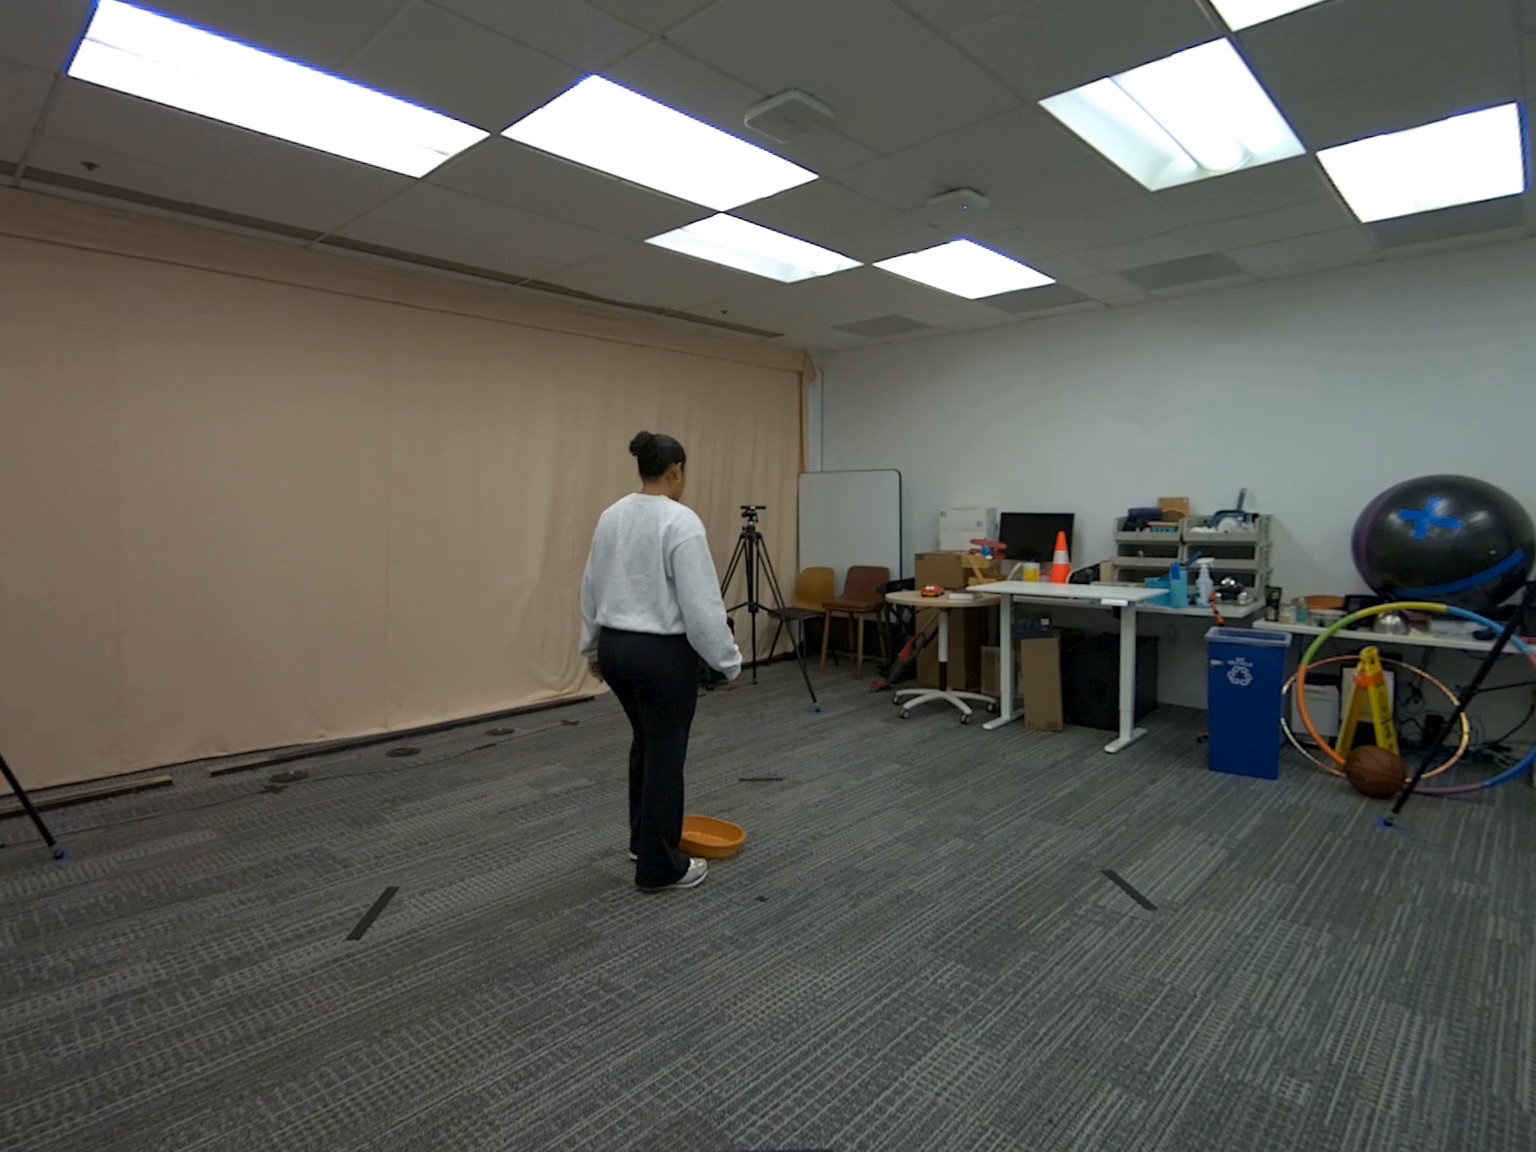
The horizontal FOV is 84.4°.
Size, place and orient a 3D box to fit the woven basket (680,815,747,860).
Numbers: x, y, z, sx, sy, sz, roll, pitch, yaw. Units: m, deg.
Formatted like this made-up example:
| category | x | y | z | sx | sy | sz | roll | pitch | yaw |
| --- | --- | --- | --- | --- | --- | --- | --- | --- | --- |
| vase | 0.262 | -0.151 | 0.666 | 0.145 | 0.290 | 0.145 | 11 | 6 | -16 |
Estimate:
| category | x | y | z | sx | sy | sz | roll | pitch | yaw |
| --- | --- | --- | --- | --- | --- | --- | --- | --- | --- |
| woven basket | -0.254 | 1.063 | 3.403 | 0.360 | 0.073 | 0.246 | 6 | 7 | 26 |
